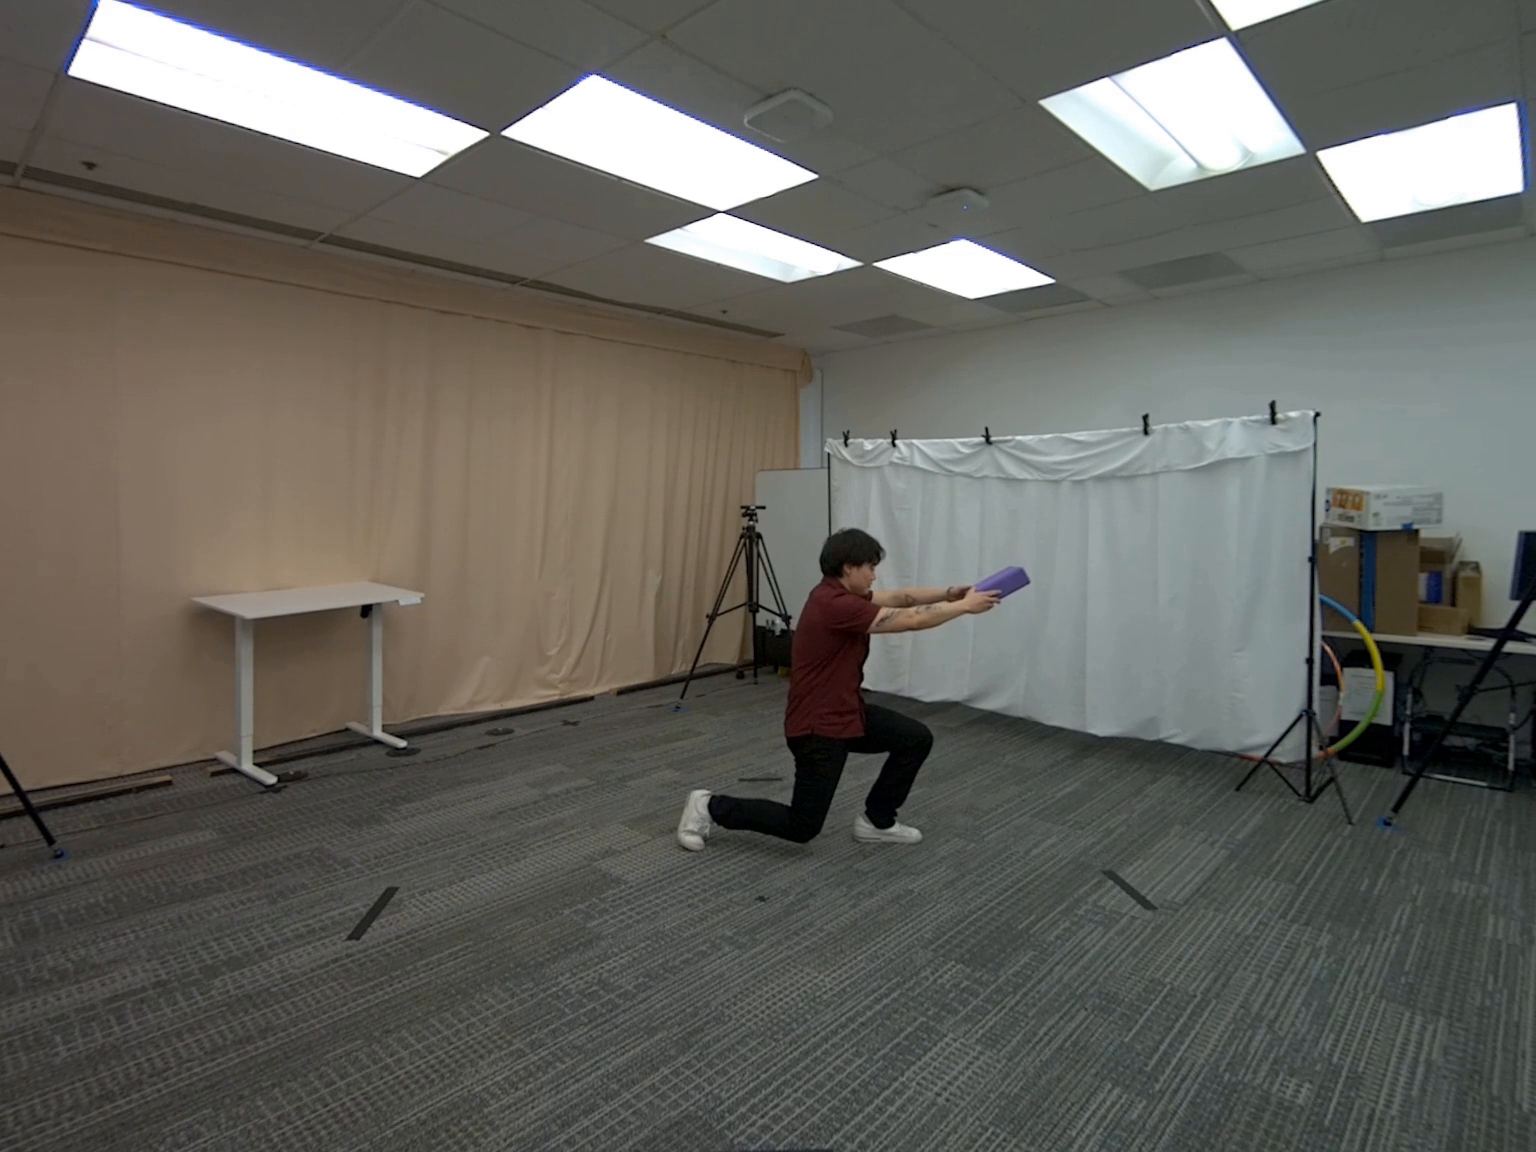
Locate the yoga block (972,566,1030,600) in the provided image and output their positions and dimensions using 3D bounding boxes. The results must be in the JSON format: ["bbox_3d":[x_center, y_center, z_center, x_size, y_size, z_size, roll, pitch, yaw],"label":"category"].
[{"bbox_3d":[0.931,0.039,3.408,0.229,0.076,0.149,-27,3,2],"label":"yoga block"}]
